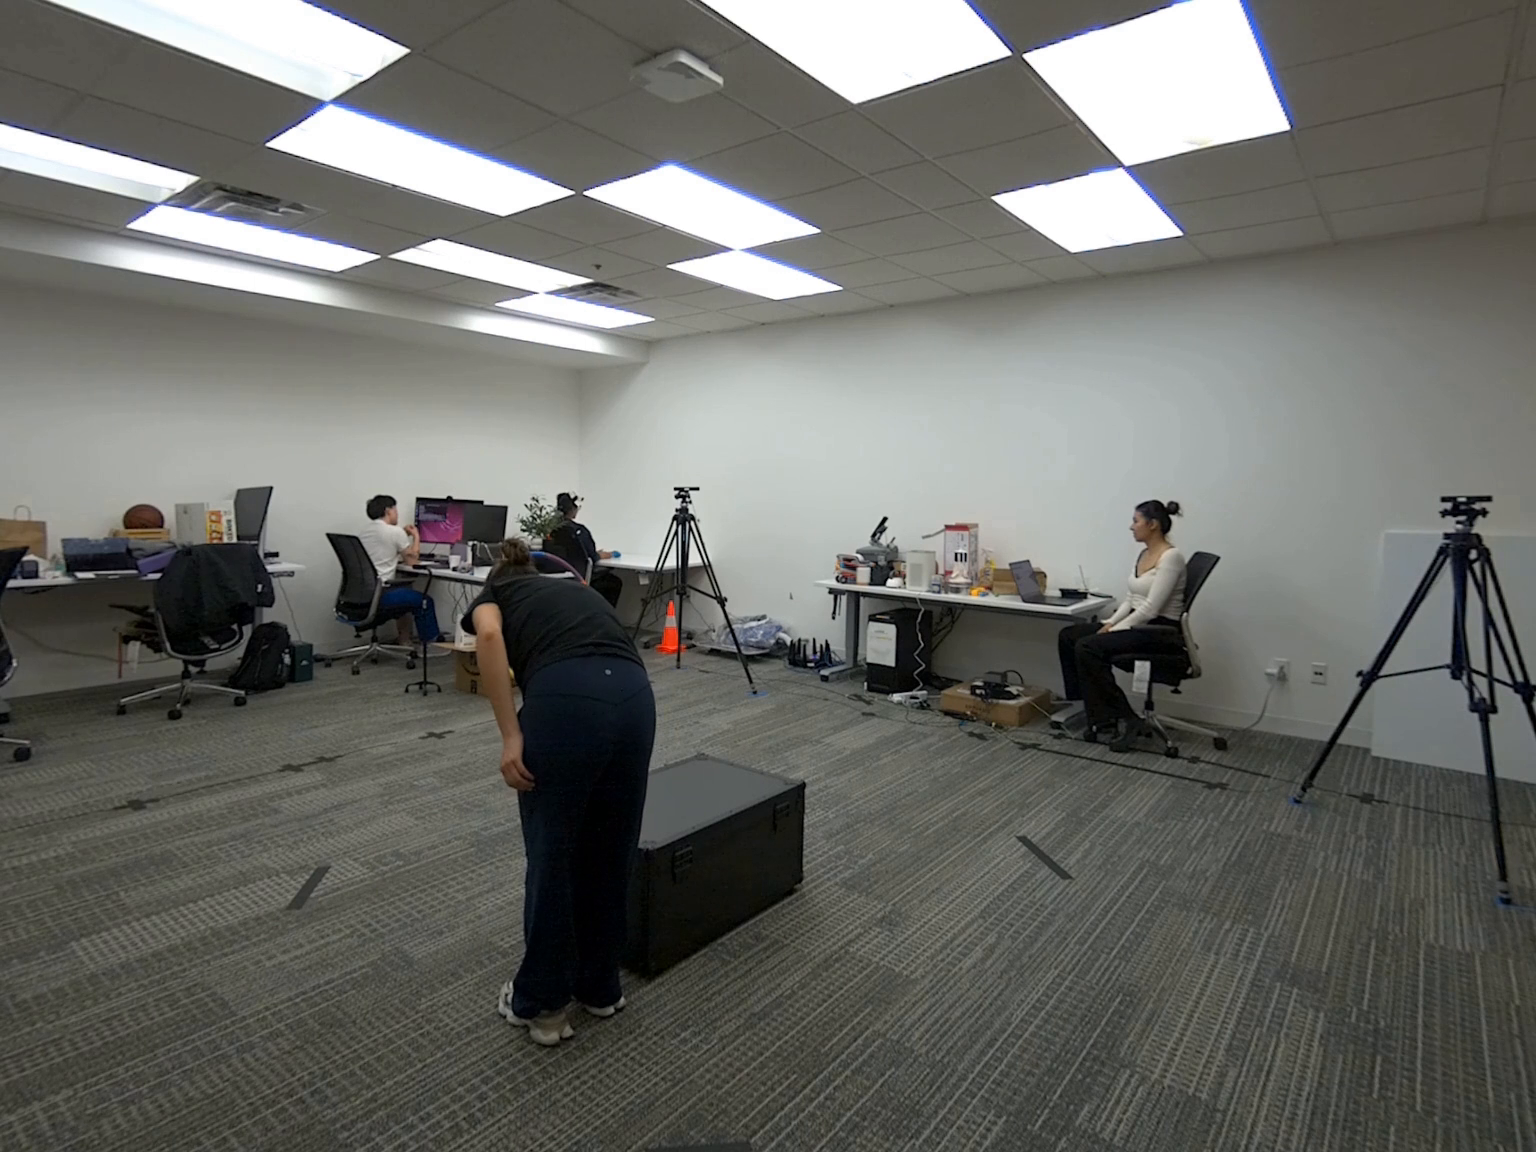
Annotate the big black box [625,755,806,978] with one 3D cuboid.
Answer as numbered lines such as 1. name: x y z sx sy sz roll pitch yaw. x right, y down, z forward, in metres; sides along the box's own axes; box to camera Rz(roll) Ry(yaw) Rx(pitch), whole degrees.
1. big black box: -0.266 0.883 2.851 0.538 0.395 0.836 4 6 38
